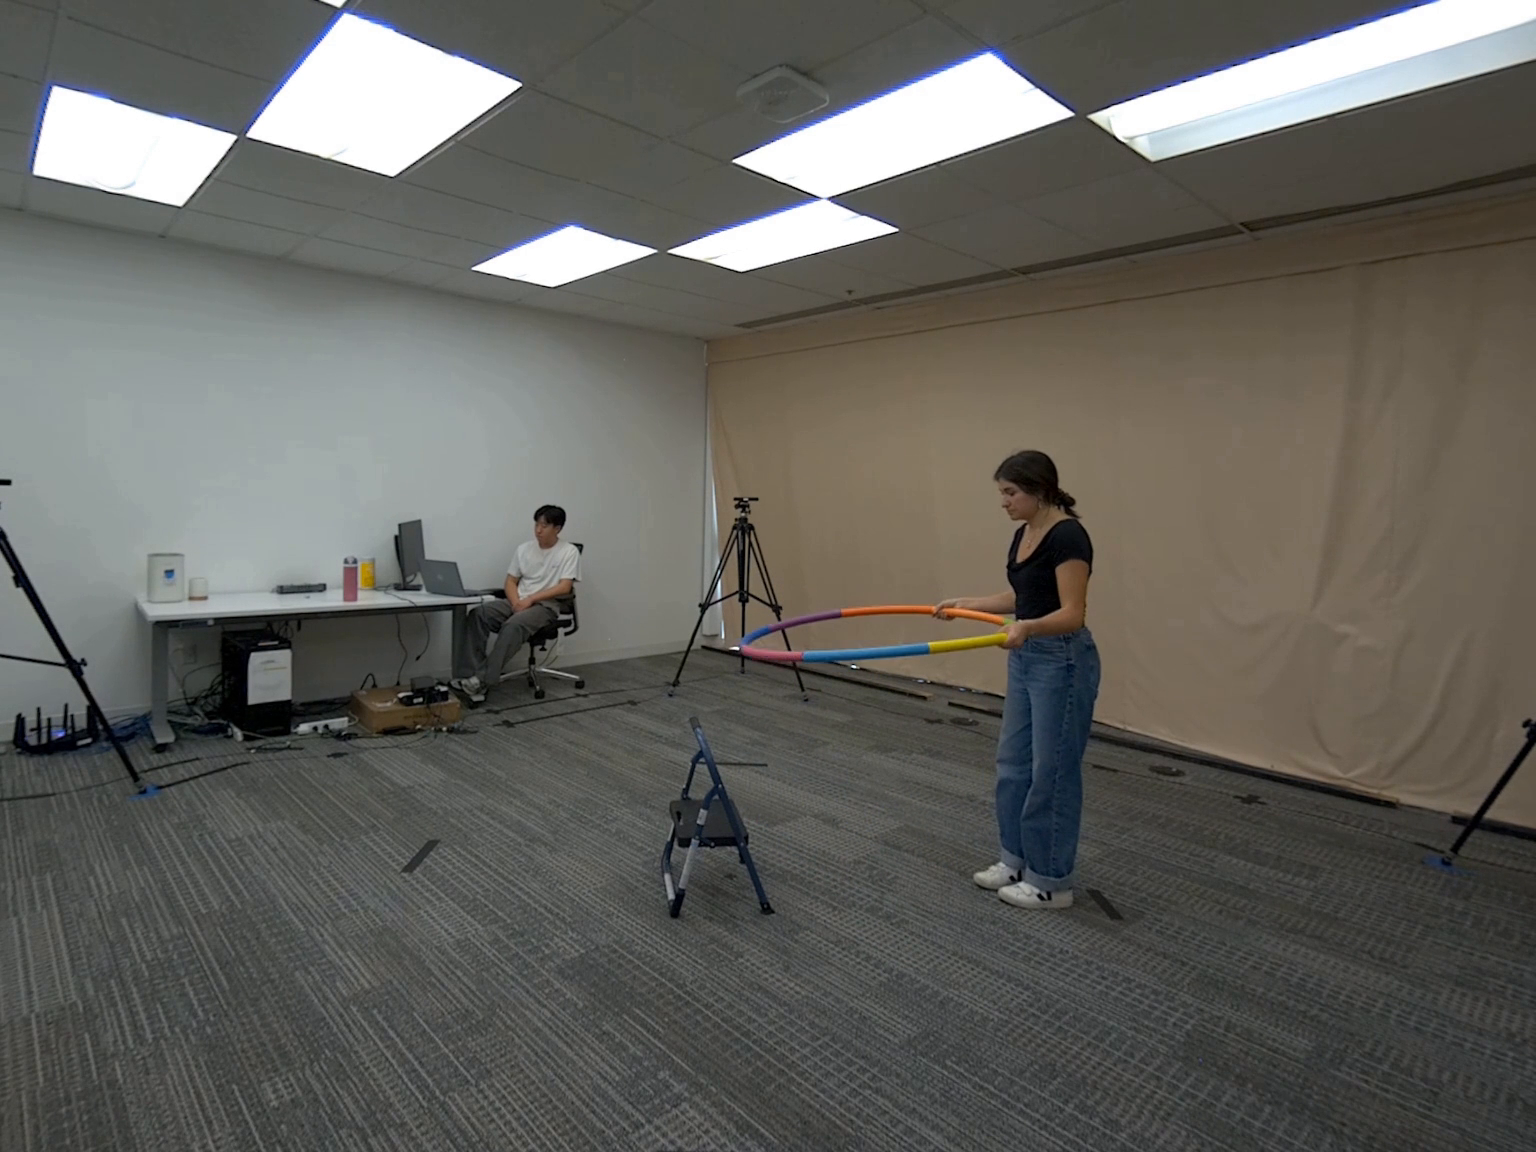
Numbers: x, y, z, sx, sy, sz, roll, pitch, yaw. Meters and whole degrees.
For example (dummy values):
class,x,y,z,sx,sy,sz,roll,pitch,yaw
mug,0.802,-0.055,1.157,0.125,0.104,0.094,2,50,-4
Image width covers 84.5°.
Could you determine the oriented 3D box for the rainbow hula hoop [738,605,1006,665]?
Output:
class,x,y,z,sx,sy,sz,roll,pitch,yaw
rainbow hula hoop,0.387,0.195,2.936,0.978,0.035,0.981,-5,4,-1
